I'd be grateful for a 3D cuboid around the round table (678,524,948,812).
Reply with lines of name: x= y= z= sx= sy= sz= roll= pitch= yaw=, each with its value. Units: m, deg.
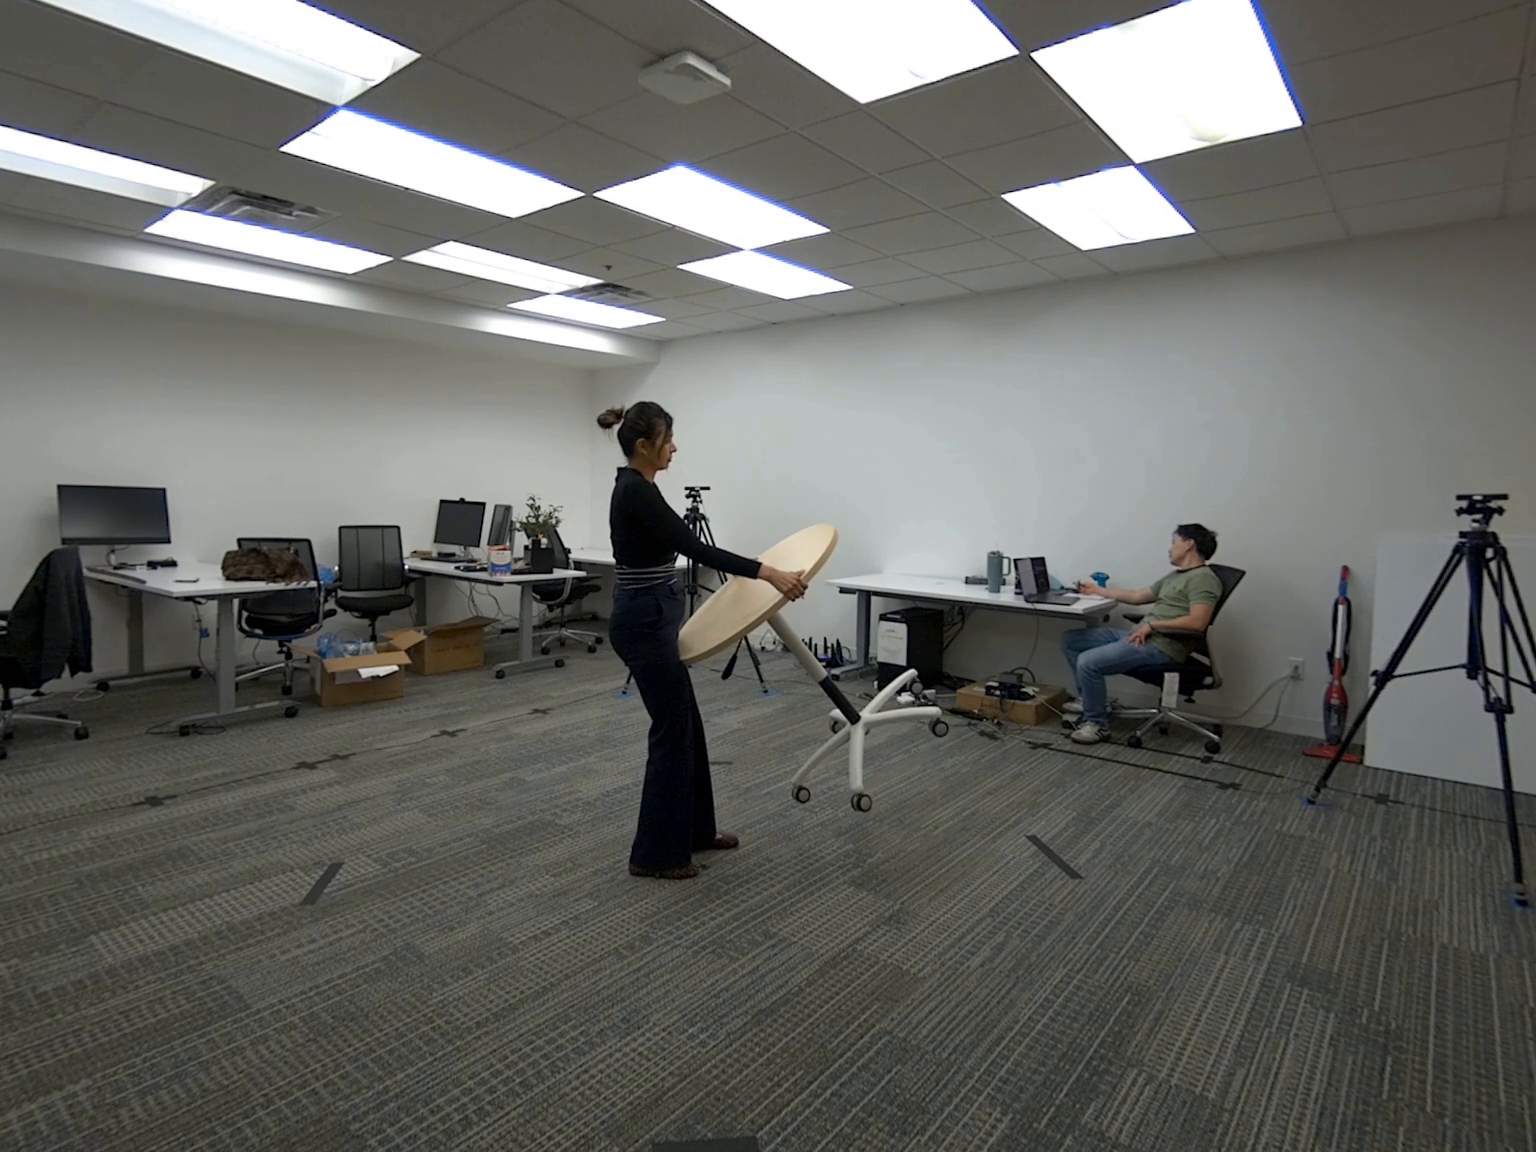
round table: x=0.174 y=0.356 z=3.212 sx=0.765 sy=0.783 sz=0.774 roll=-37 pitch=11 yaw=7
